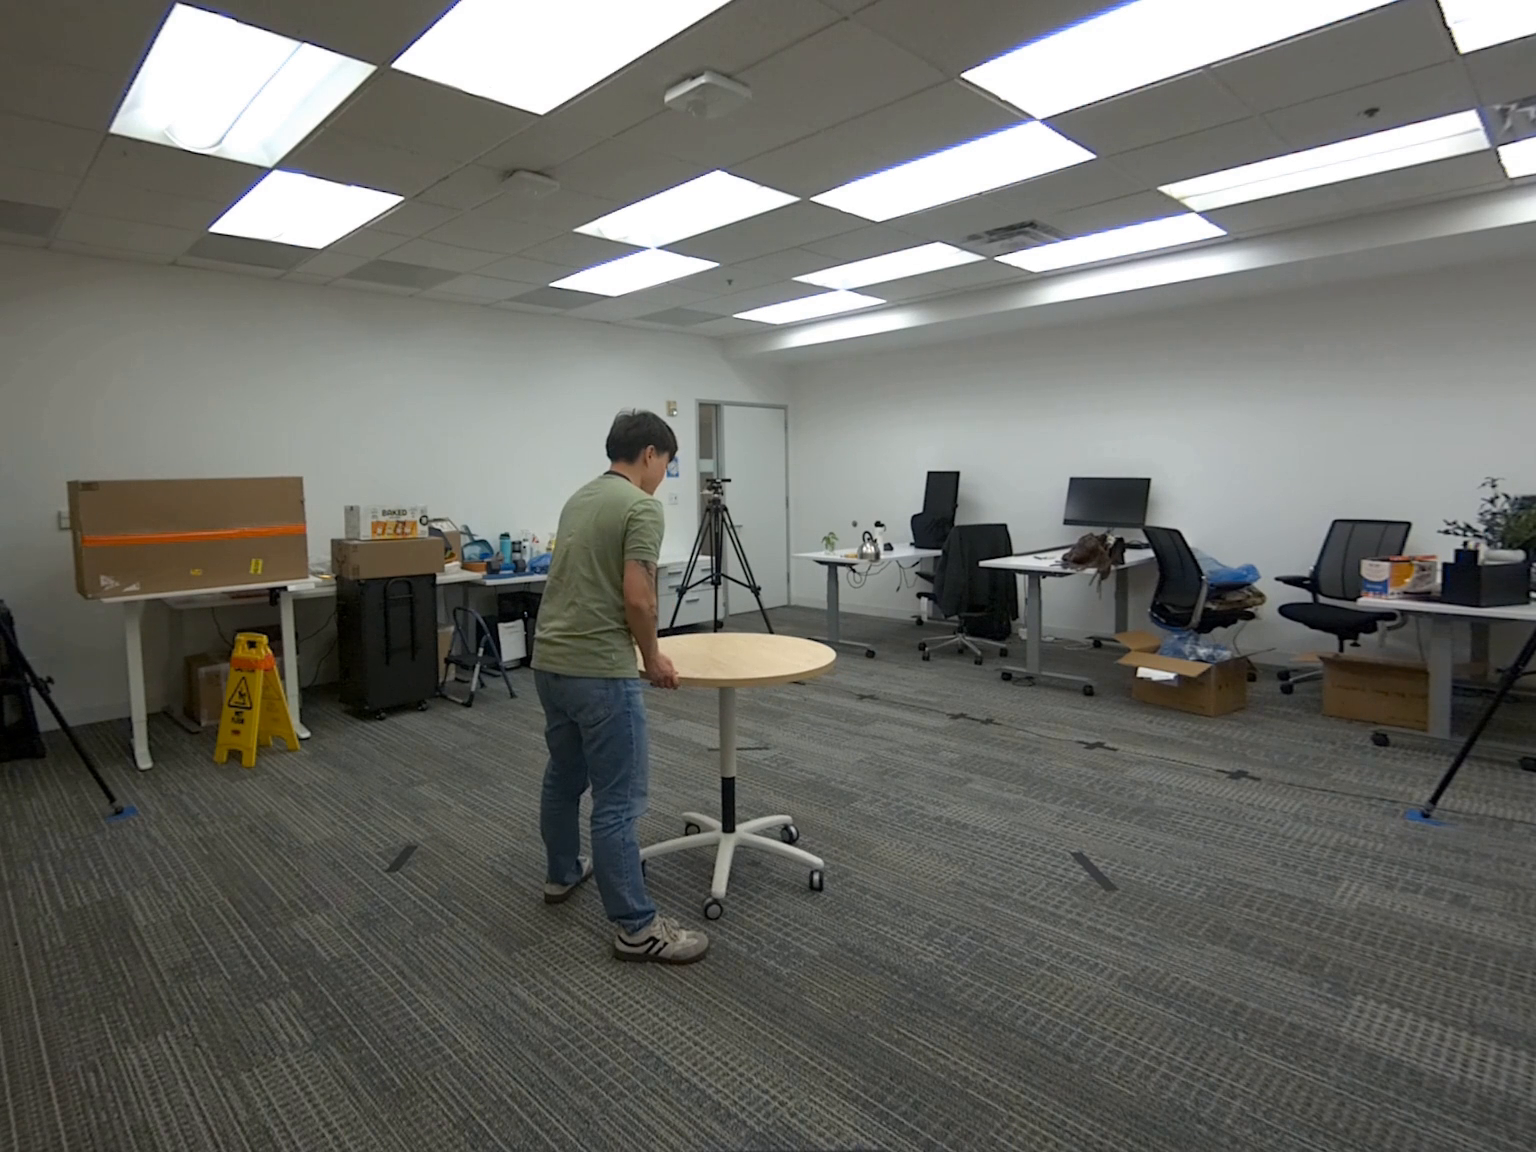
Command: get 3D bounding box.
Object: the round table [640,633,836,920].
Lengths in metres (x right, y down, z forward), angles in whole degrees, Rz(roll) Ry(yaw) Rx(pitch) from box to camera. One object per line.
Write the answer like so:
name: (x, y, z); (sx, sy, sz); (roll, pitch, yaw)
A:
round table: (-0.135, 0.665, 3.039); (0.763, 0.790, 0.768); (-1, 5, -2)
